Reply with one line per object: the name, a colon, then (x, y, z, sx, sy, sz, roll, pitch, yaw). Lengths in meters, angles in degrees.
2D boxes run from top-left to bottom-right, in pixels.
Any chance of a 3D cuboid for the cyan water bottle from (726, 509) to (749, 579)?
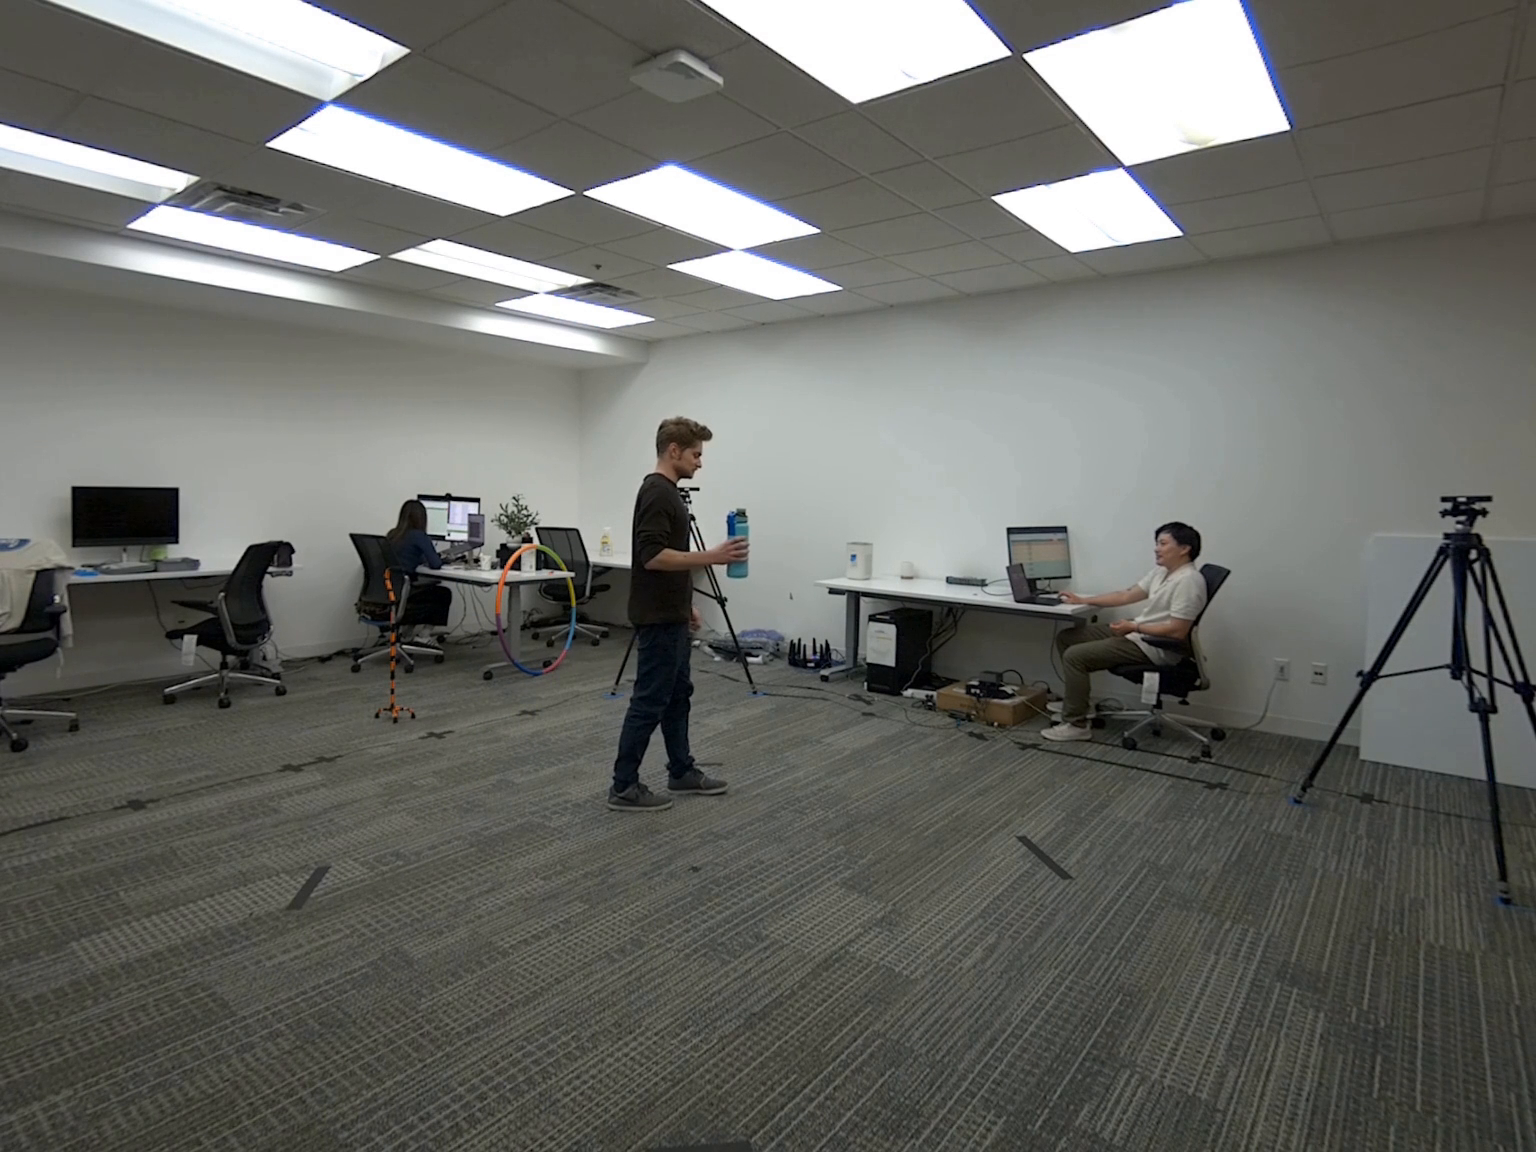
cyan water bottle: (-0.134, -0.143, 3.513, 0.092, 0.281, 0.093, 0, 9, -2)
